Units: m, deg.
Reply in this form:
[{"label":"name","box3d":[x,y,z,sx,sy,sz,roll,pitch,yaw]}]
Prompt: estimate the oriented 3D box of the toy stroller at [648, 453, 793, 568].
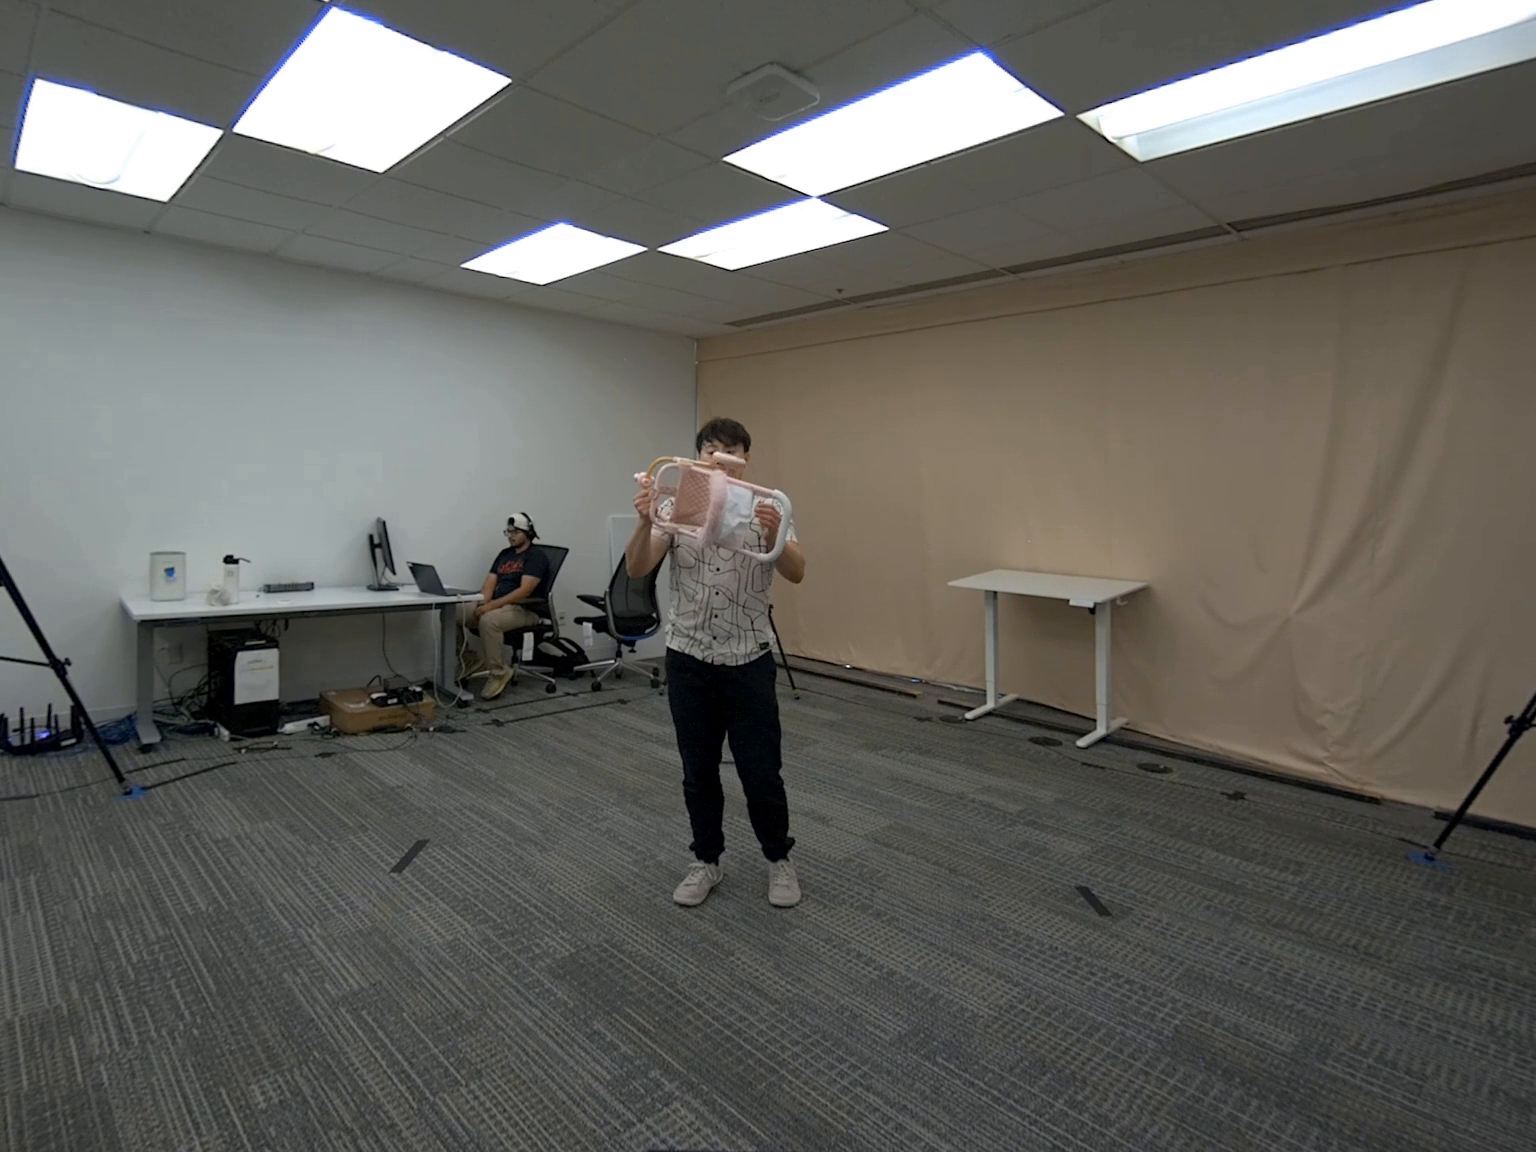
[{"label":"toy stroller","box3d":[-0.201,-0.219,2.508,0.334,0.280,0.549,13,12,-25]}]
